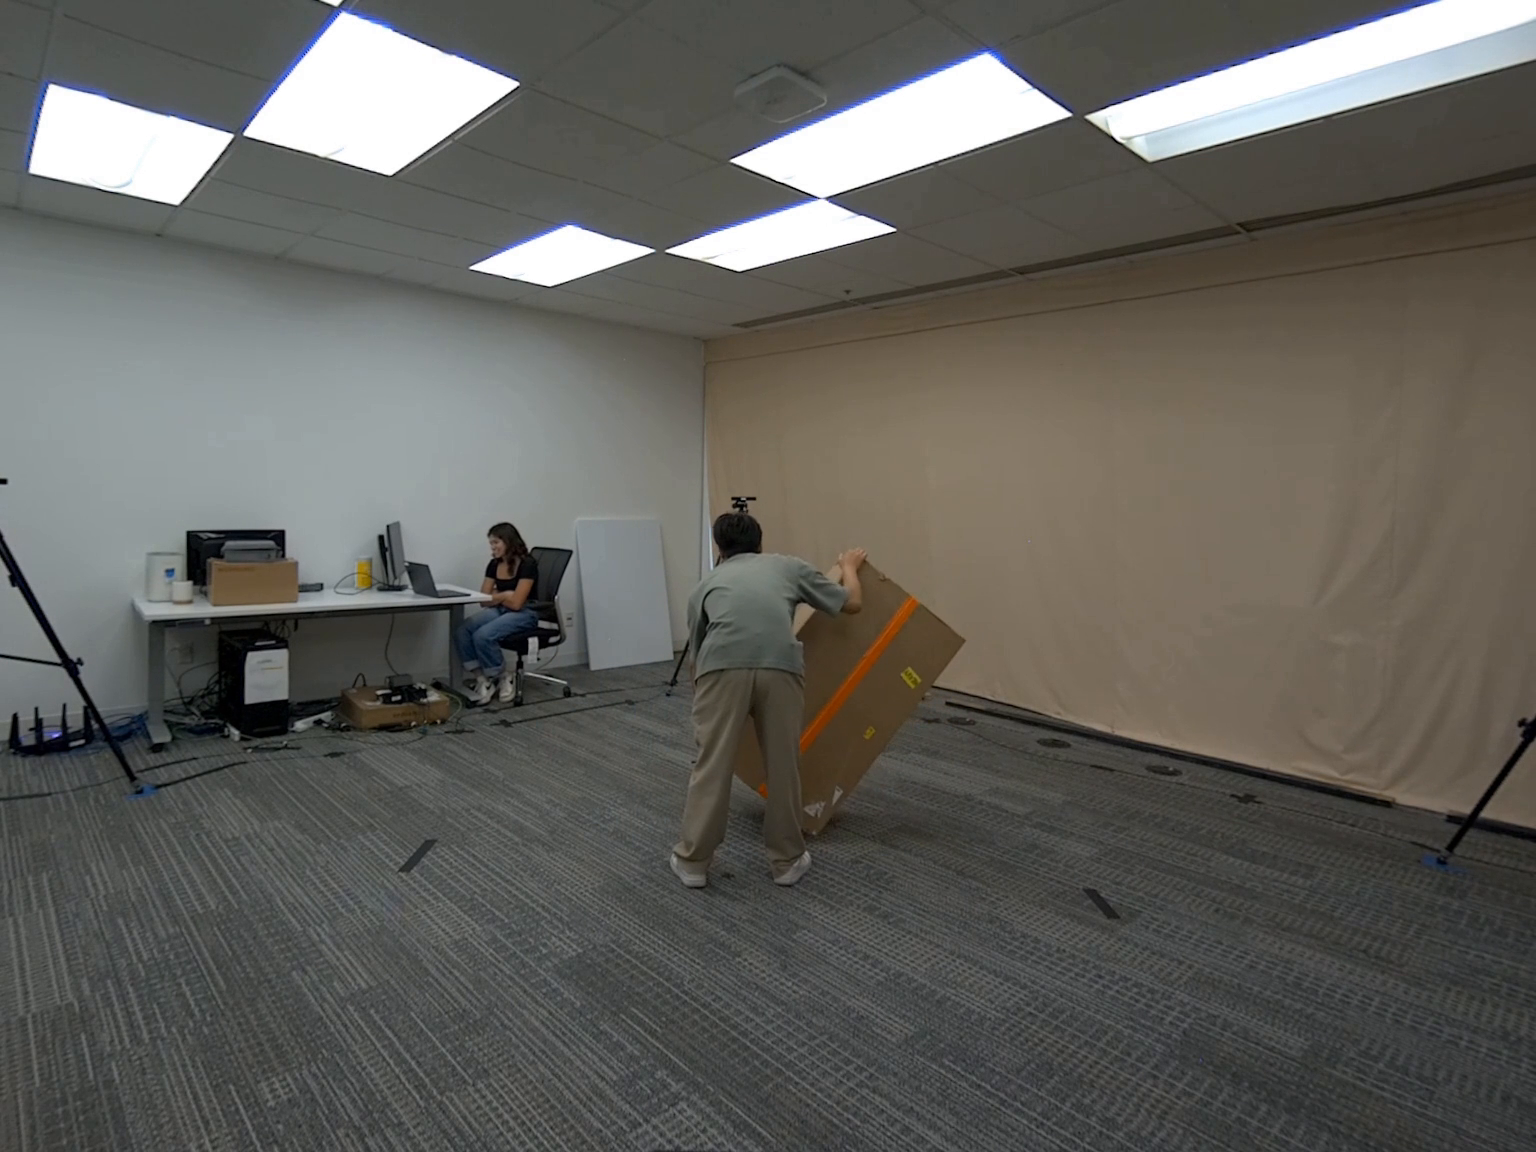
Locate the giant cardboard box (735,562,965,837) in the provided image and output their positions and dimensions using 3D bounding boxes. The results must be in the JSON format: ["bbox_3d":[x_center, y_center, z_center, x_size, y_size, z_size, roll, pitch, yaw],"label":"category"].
[{"bbox_3d":[0.255,0.487,3.642,0.576,1.026,0.427,39,-4,-2],"label":"giant cardboard box"}]
